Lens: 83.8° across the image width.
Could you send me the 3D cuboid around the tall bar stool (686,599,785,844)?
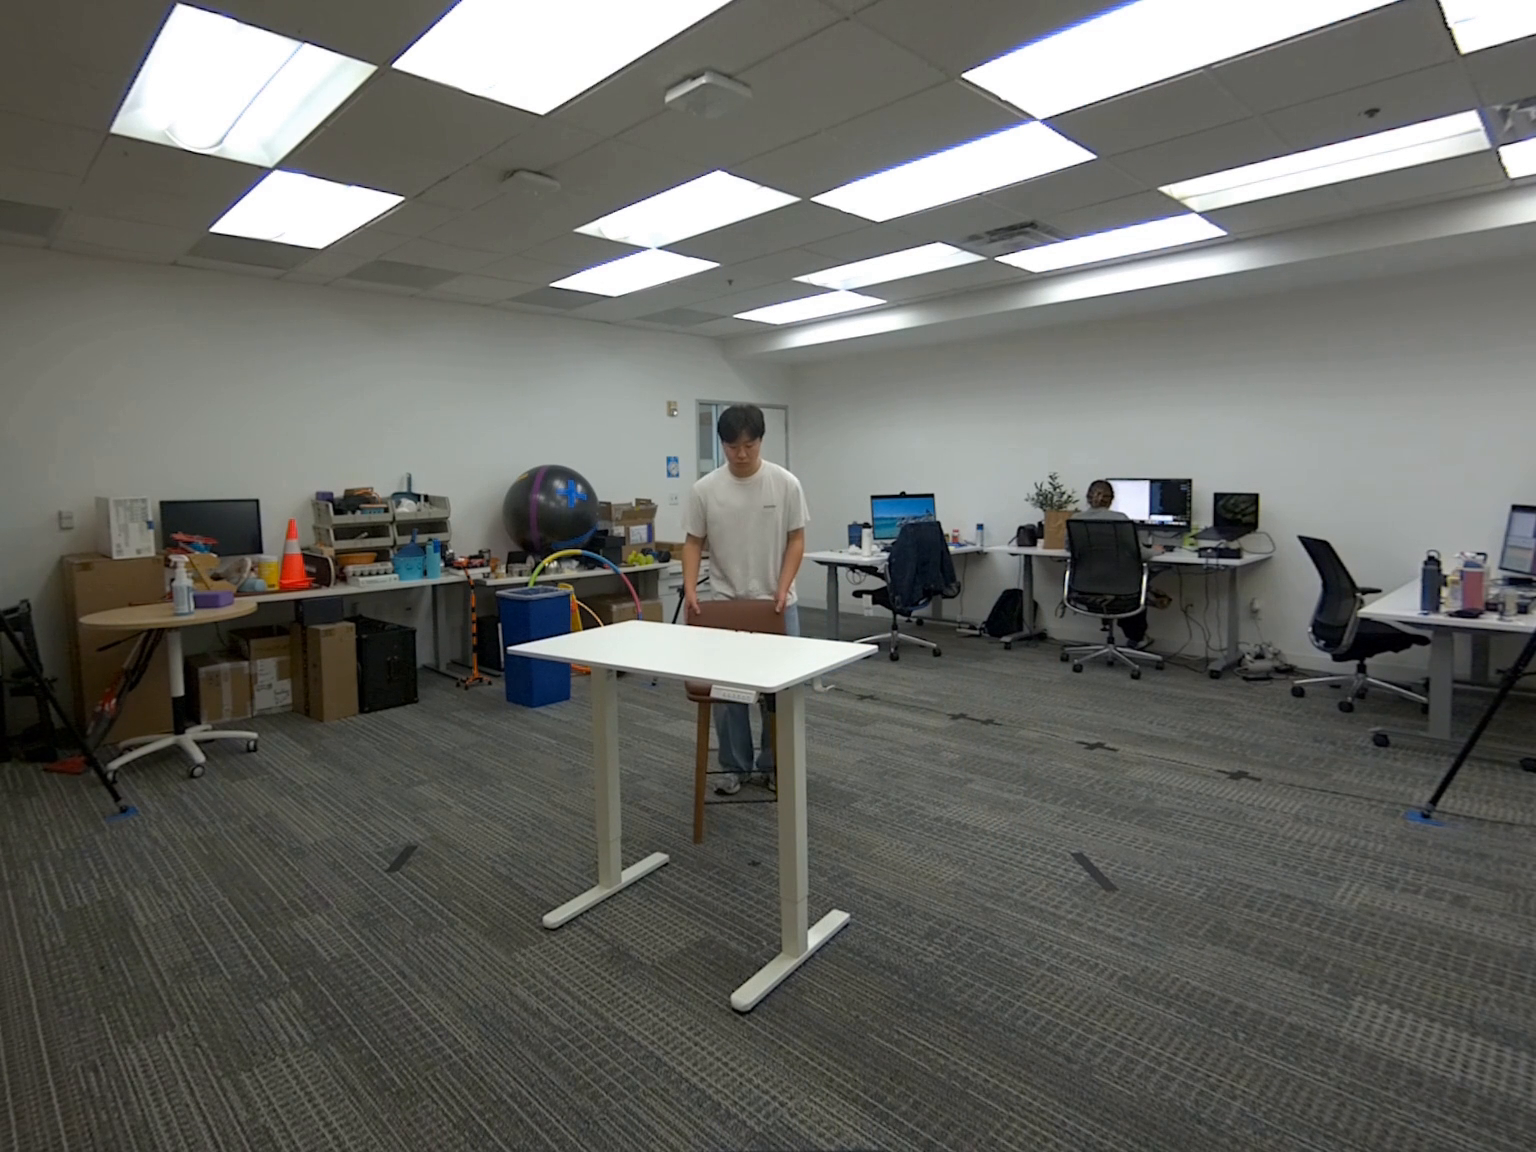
[{"bbox_3d":[-0.098,0.565,3.496,0.455,0.889,0.469,-1,1,-4],"label":"tall bar stool"}]
